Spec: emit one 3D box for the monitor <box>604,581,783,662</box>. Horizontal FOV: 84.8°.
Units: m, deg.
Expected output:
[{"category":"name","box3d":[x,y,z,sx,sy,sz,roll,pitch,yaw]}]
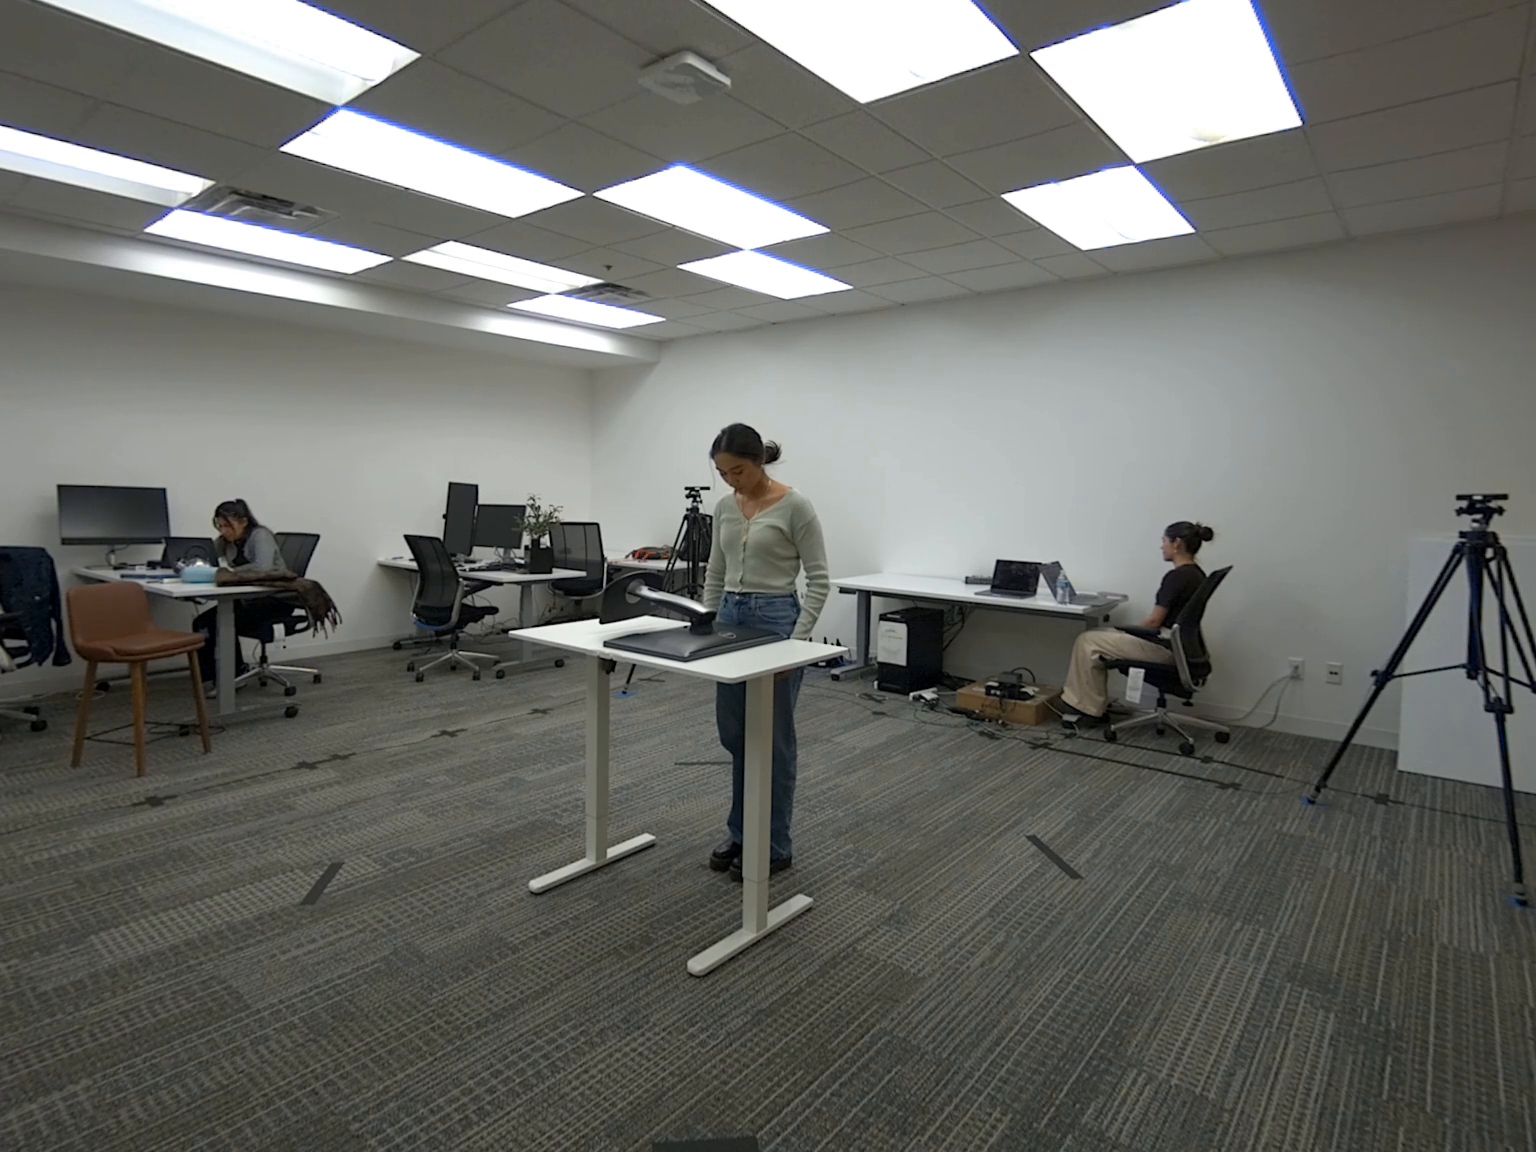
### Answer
[{"category":"monitor","box3d":[-0.290,0.150,2.835,0.543,0.185,0.525,22,20,36]}]
